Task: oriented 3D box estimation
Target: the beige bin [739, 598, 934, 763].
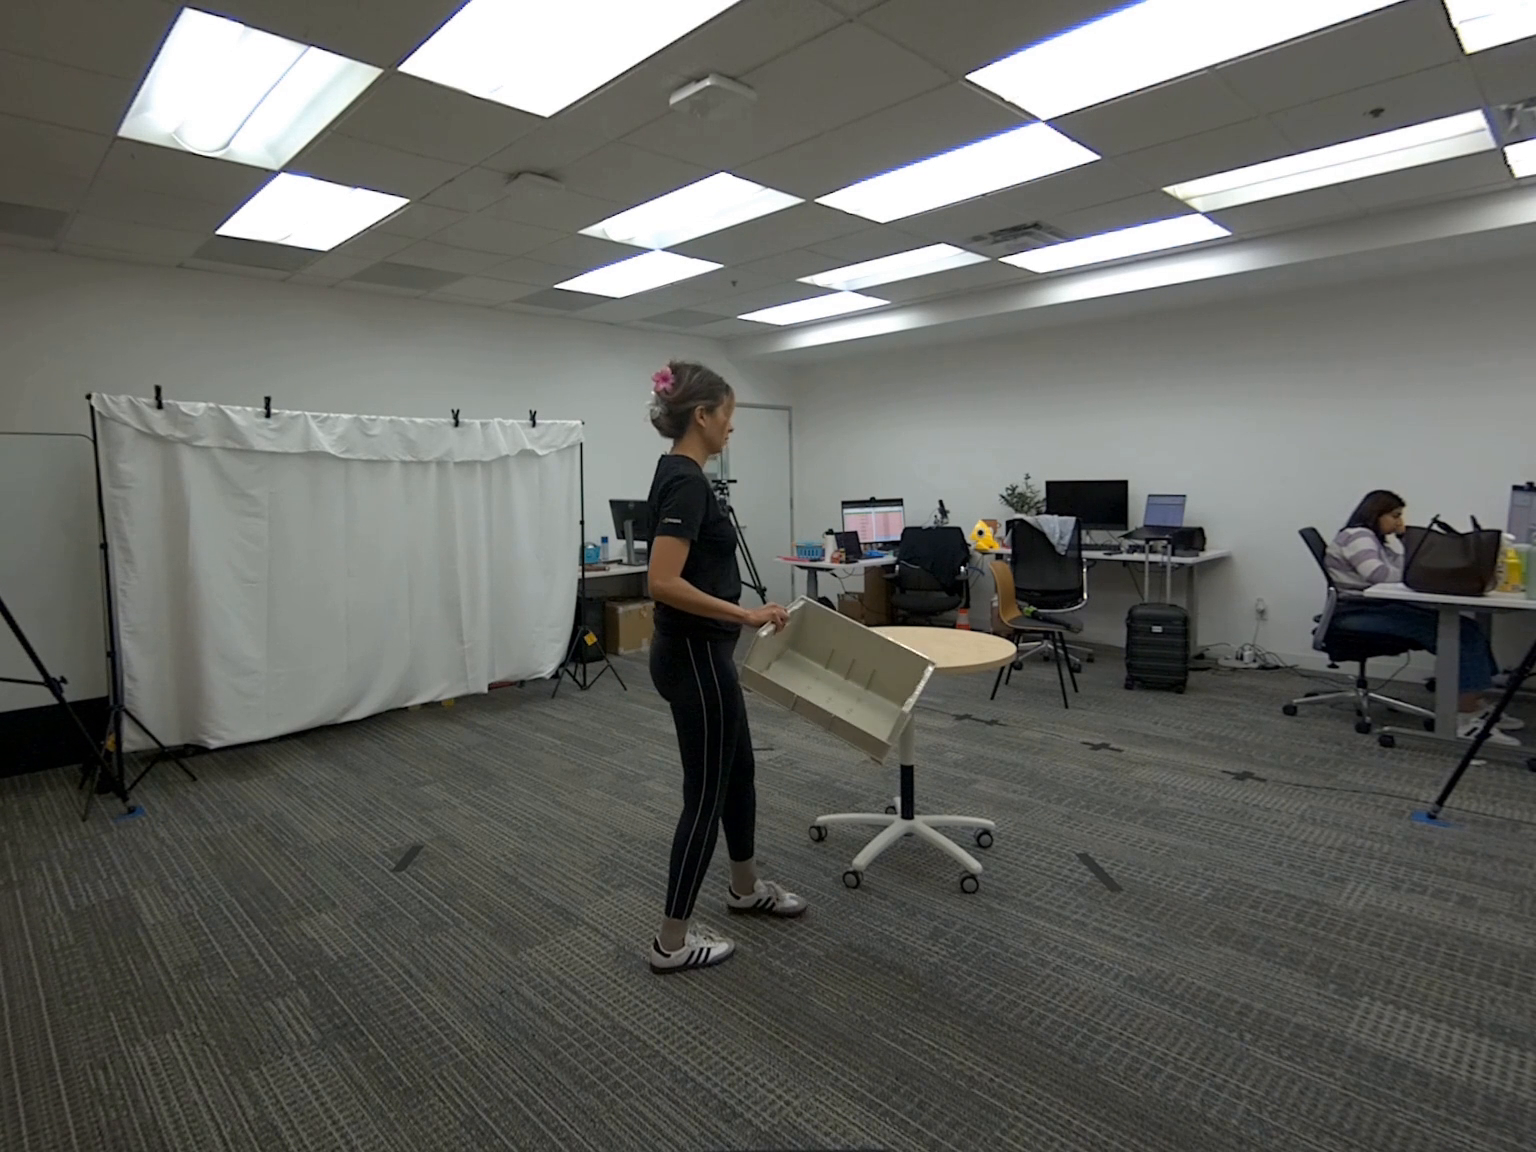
[{"bbox_3d":[0.190,0.268,2.283,0.431,0.187,0.373,24,21,16],"label":"beige bin"}]
